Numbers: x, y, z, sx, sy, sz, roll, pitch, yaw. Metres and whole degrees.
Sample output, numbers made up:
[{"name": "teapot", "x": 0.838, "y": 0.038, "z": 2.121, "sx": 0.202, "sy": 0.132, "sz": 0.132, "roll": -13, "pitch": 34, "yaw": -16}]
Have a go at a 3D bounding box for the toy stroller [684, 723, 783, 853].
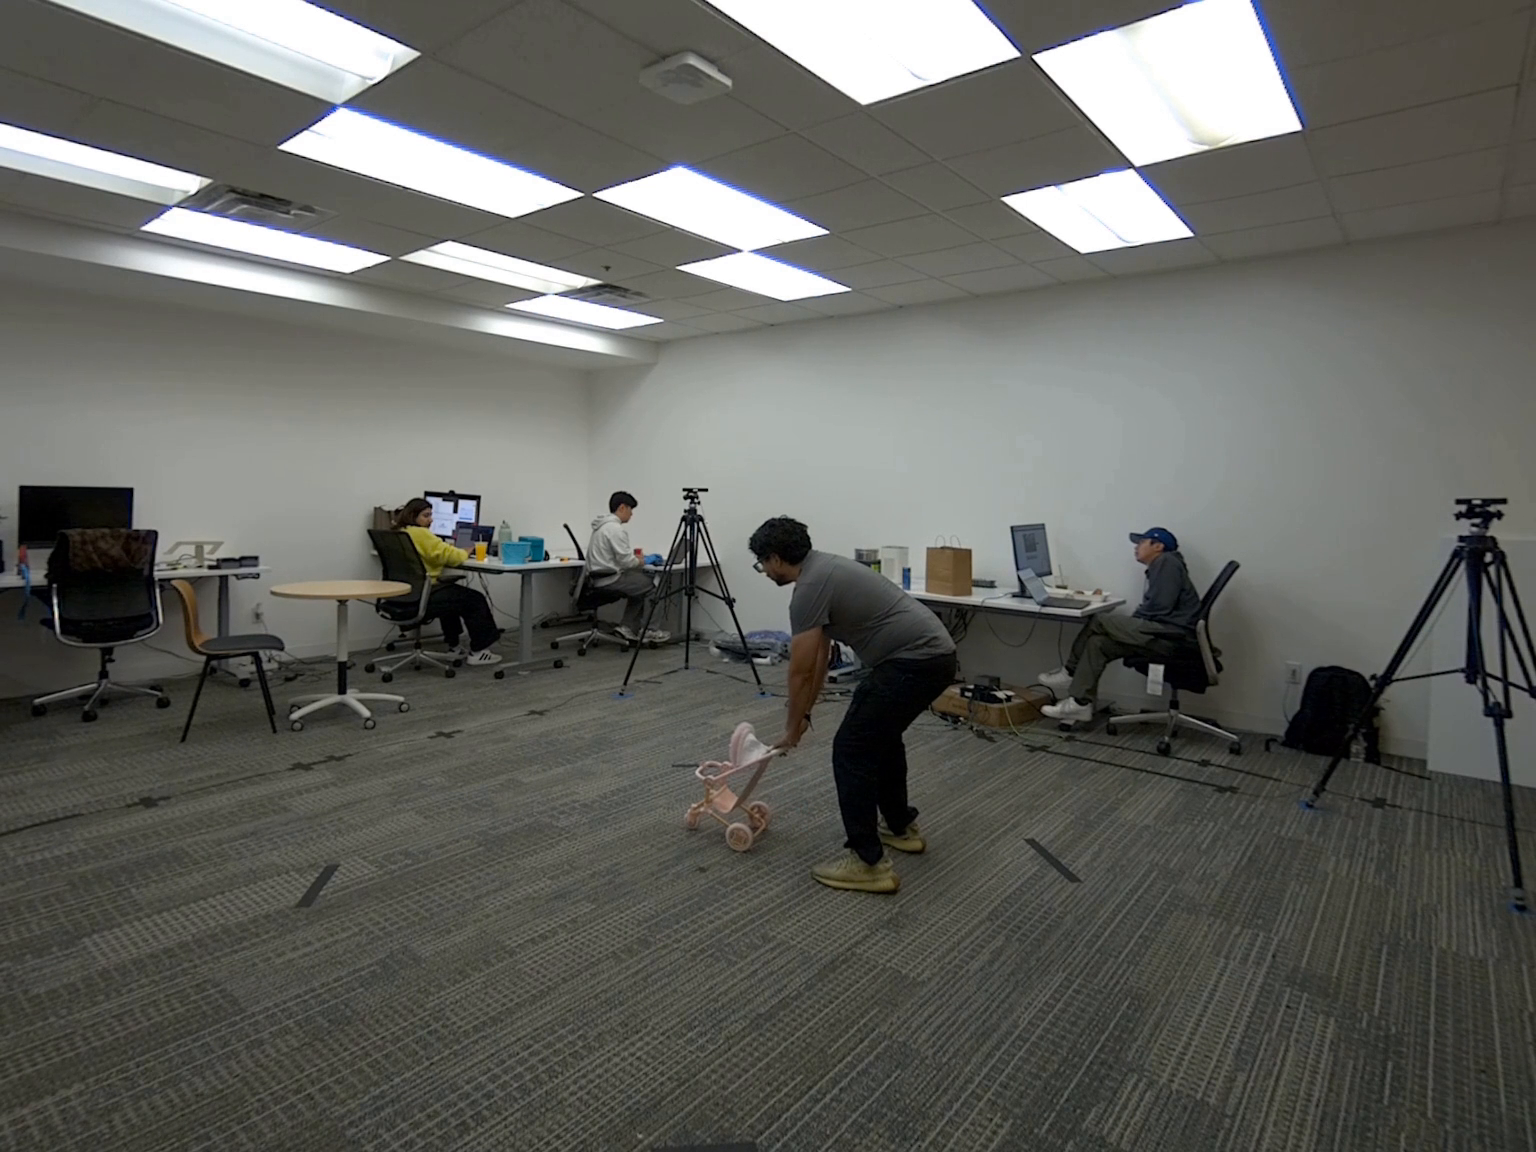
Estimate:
[{"name": "toy stroller", "x": -0.136, "y": 0.824, "z": 3.410, "sx": 0.351, "sy": 0.532, "sz": 0.275, "roll": 21, "pitch": 10, "yaw": 22}]
